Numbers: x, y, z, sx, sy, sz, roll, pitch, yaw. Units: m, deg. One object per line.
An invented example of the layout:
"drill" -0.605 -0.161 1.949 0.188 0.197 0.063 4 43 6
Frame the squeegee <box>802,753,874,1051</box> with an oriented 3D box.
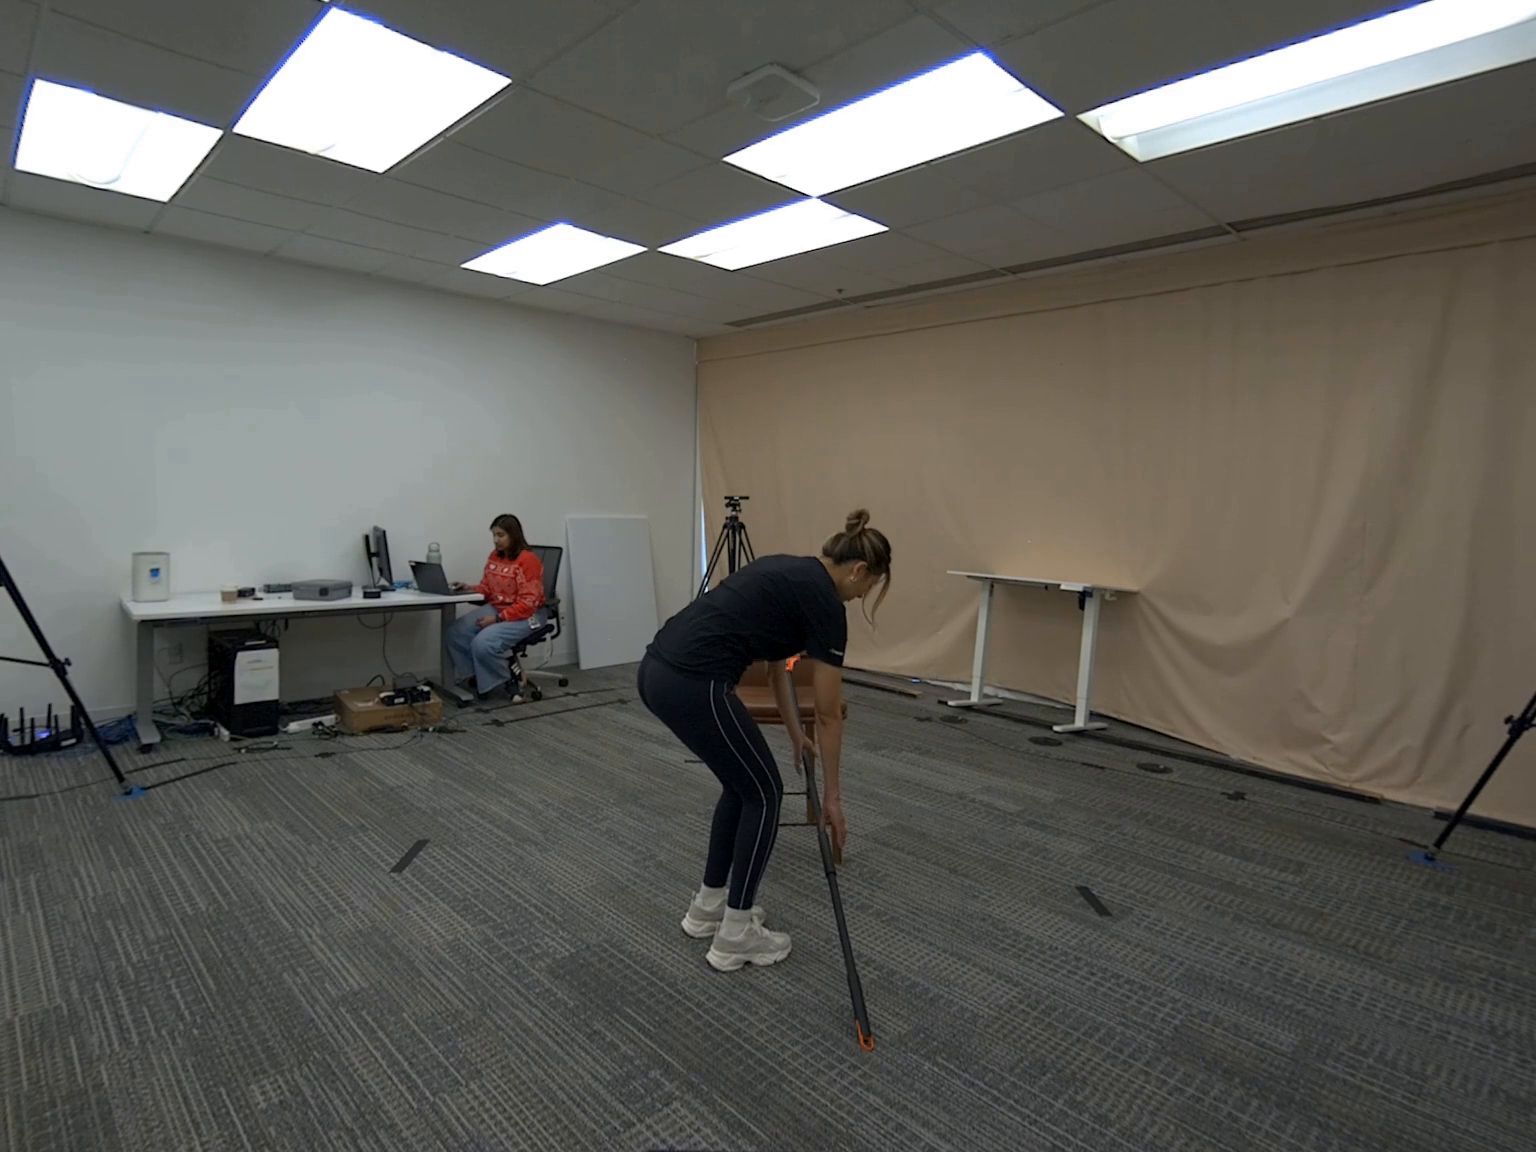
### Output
"squeegee" 0.153 0.760 2.779 0.053 0.429 1.573 -4 32 -5
